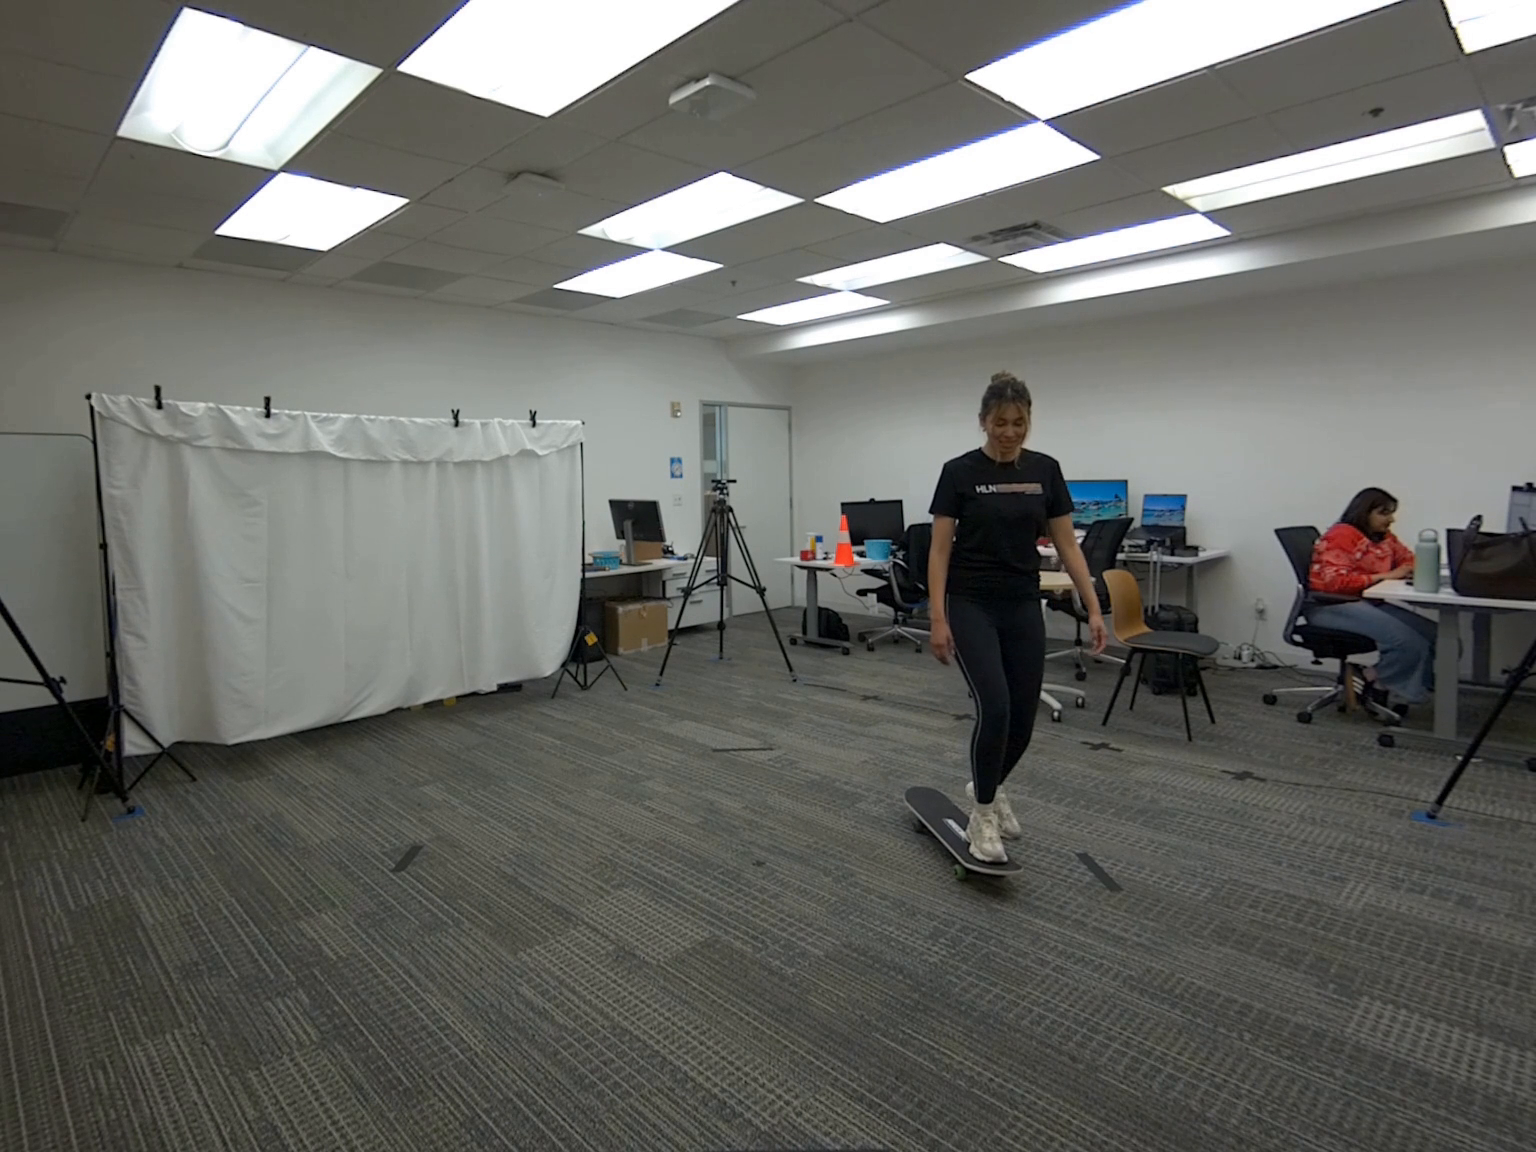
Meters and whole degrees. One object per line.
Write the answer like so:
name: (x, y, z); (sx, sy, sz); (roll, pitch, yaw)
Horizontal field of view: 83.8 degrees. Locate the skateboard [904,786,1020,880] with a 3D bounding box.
skateboard: (0.704, 0.972, 3.176); (0.192, 0.110, 0.795); (1, 6, -10)
